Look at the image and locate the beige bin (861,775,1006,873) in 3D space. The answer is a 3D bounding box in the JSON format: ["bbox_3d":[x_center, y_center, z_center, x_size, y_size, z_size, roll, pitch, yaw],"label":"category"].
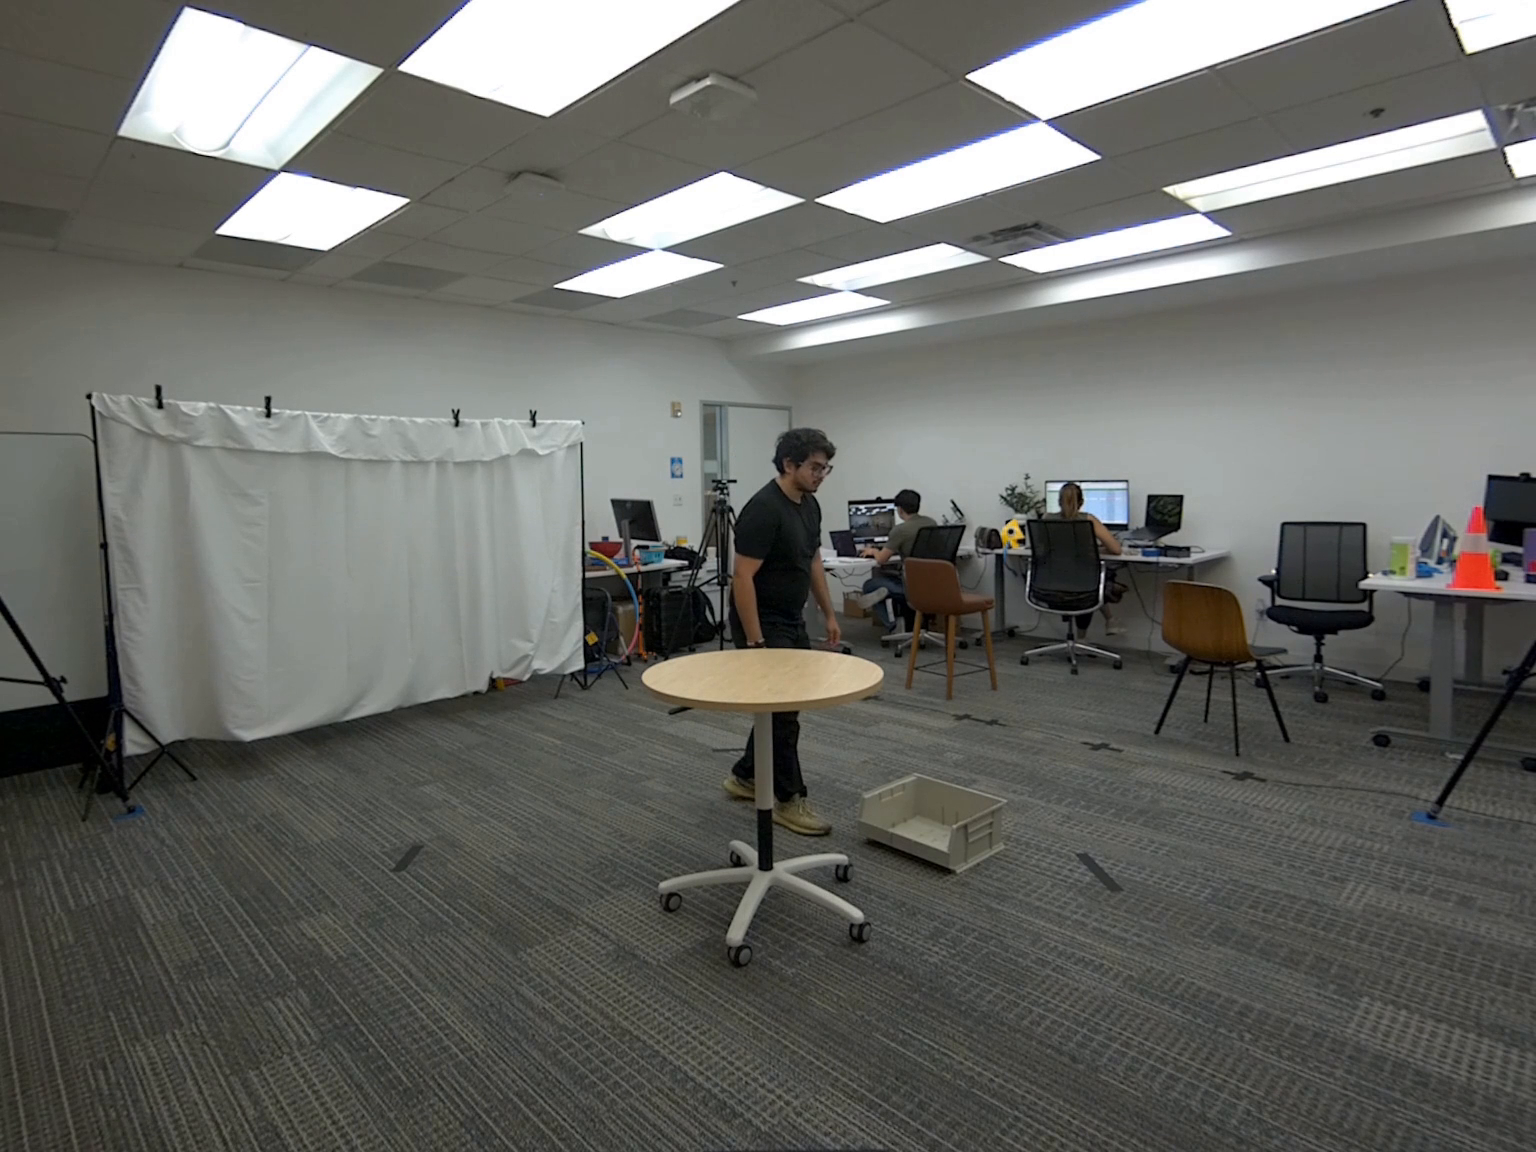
[{"bbox_3d":[0.621,0.934,3.238,0.367,0.188,0.435,-5,6,-42],"label":"beige bin"}]
